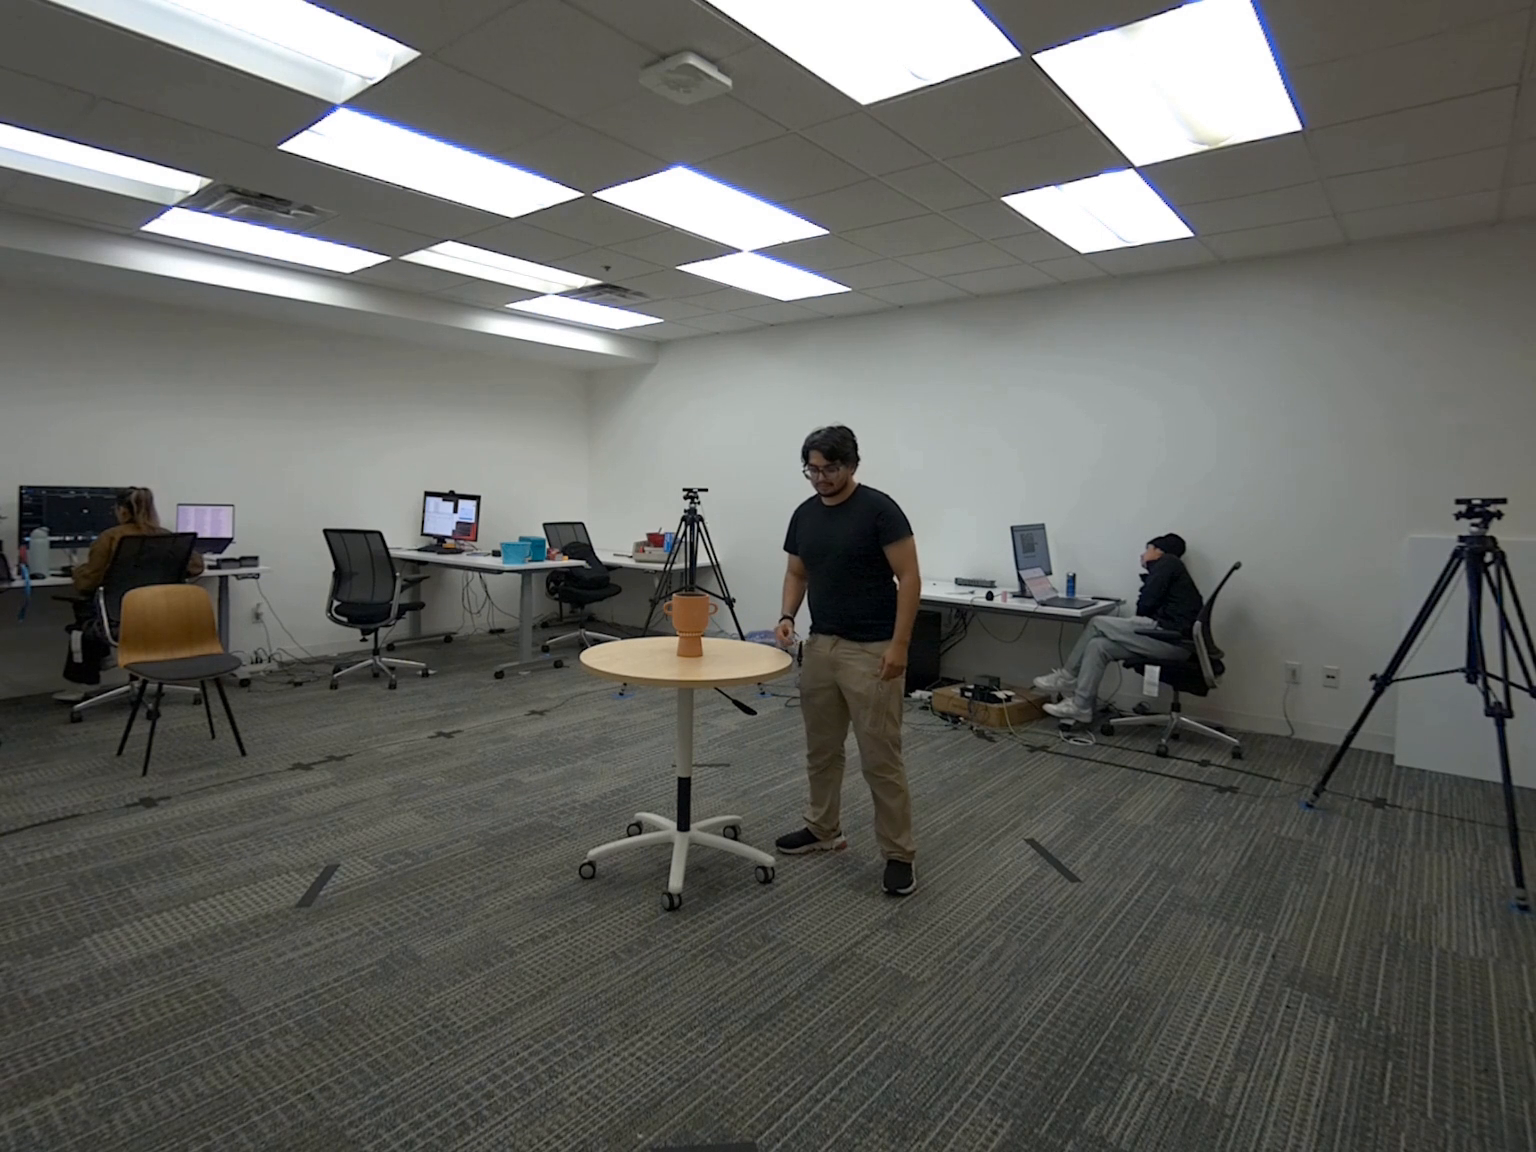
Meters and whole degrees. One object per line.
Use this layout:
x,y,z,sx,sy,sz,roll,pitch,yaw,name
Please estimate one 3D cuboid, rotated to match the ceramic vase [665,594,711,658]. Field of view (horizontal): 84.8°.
-0.292,0.177,3.104,0.164,0.219,0.131,4,5,32,ceramic vase
